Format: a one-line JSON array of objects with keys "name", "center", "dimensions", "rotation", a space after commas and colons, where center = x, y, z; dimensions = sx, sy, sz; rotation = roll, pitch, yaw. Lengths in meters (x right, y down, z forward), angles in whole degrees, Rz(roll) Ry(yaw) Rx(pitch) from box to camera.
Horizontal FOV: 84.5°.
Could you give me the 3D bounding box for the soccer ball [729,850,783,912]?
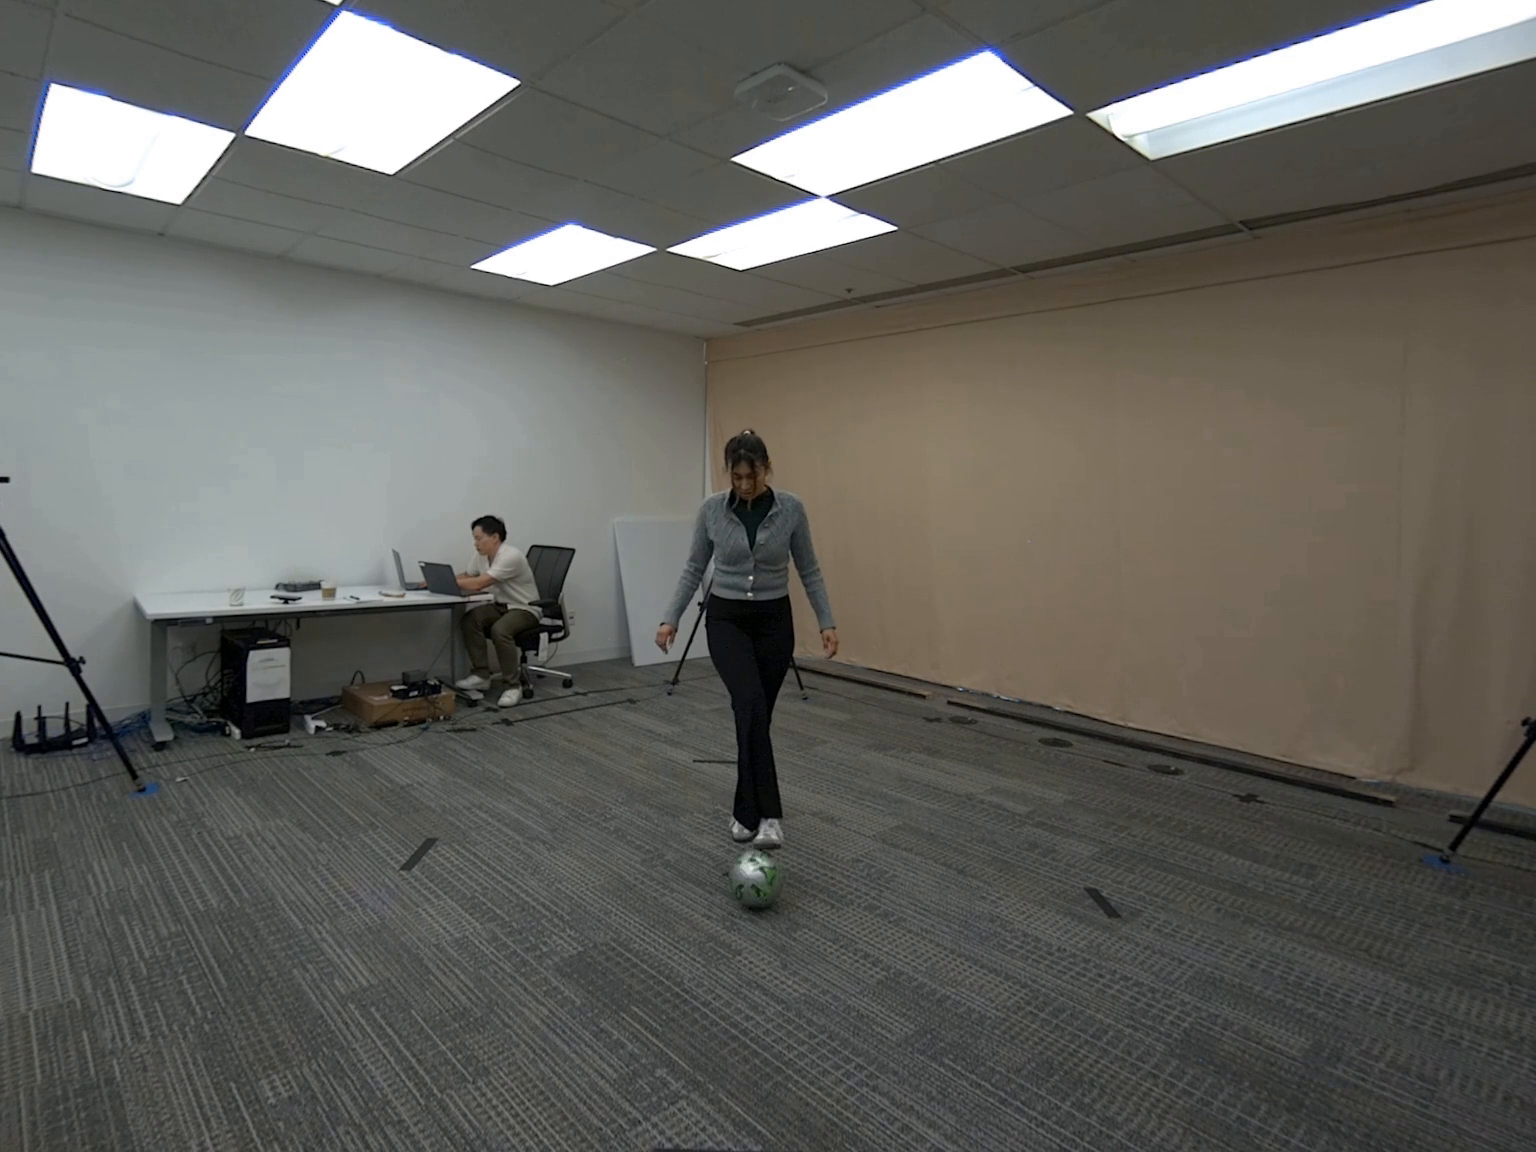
[{"name": "soccer ball", "center": [-0.055, 1.032, 2.876], "dimensions": [0.187, 0.187, 0.188], "rotation": [1, 4, -1]}]
